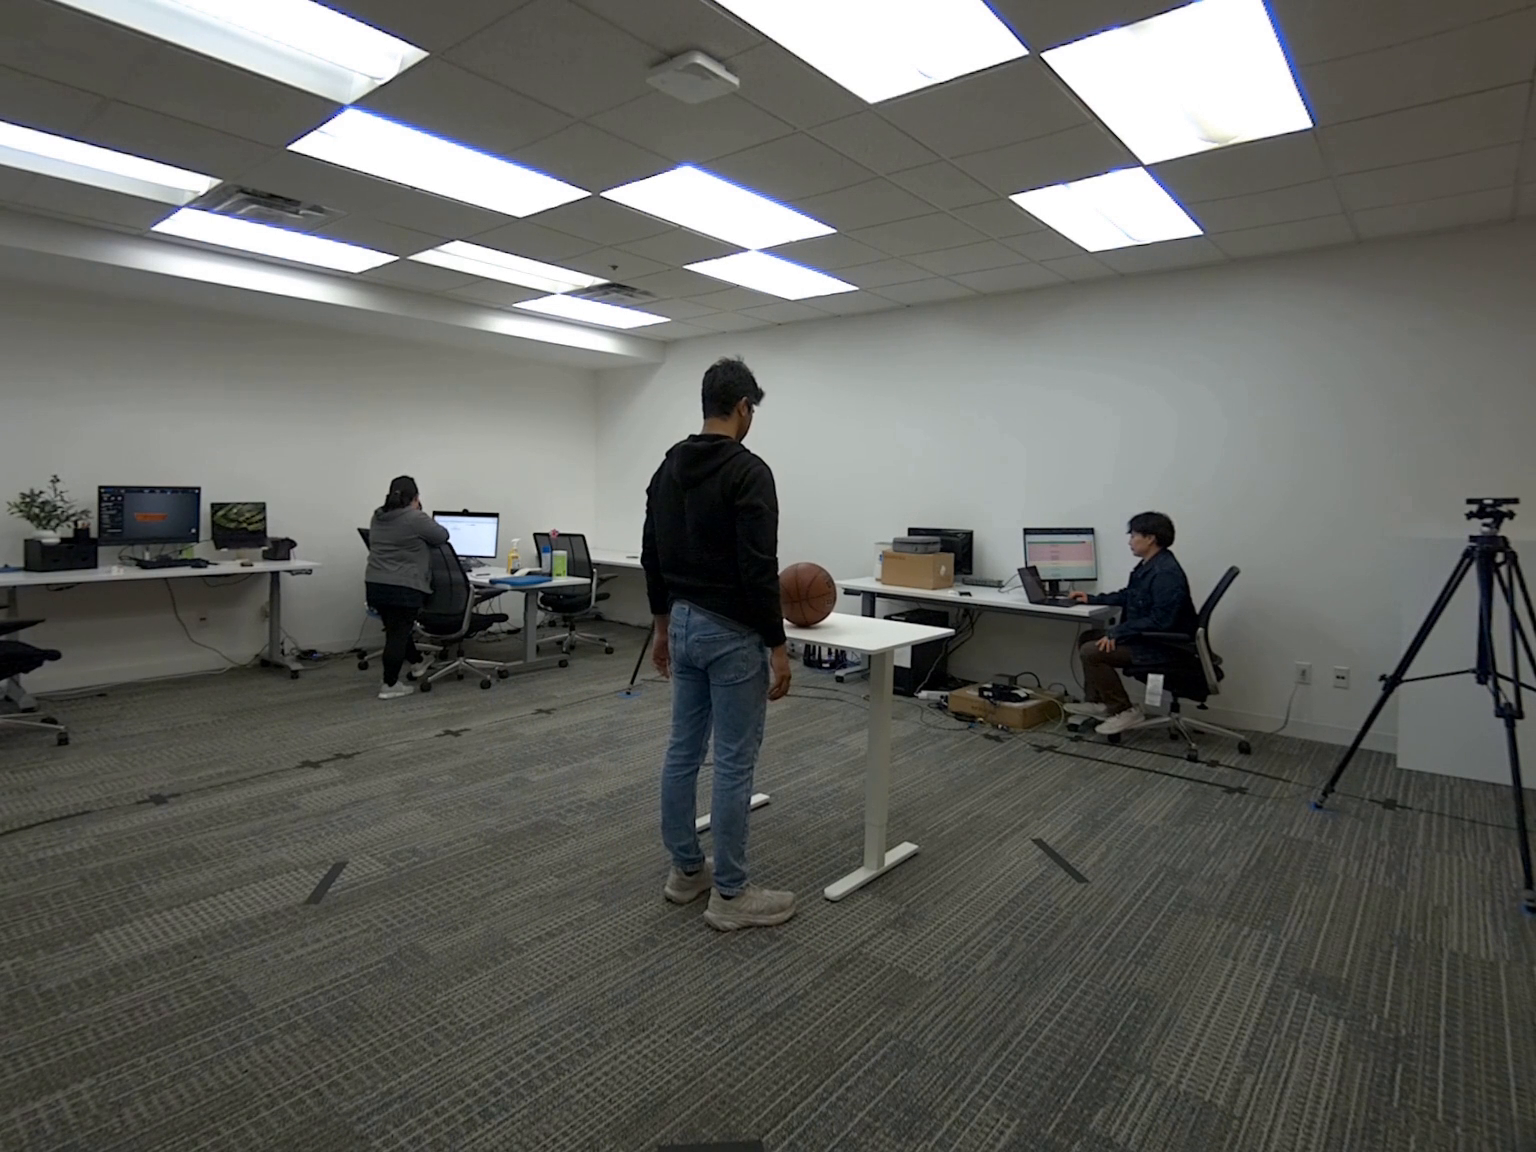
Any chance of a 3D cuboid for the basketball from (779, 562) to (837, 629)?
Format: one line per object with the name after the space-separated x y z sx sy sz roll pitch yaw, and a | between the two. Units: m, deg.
0.133 0.065 3.189 0.235 0.235 0.237 1 4 -2 | basketball
